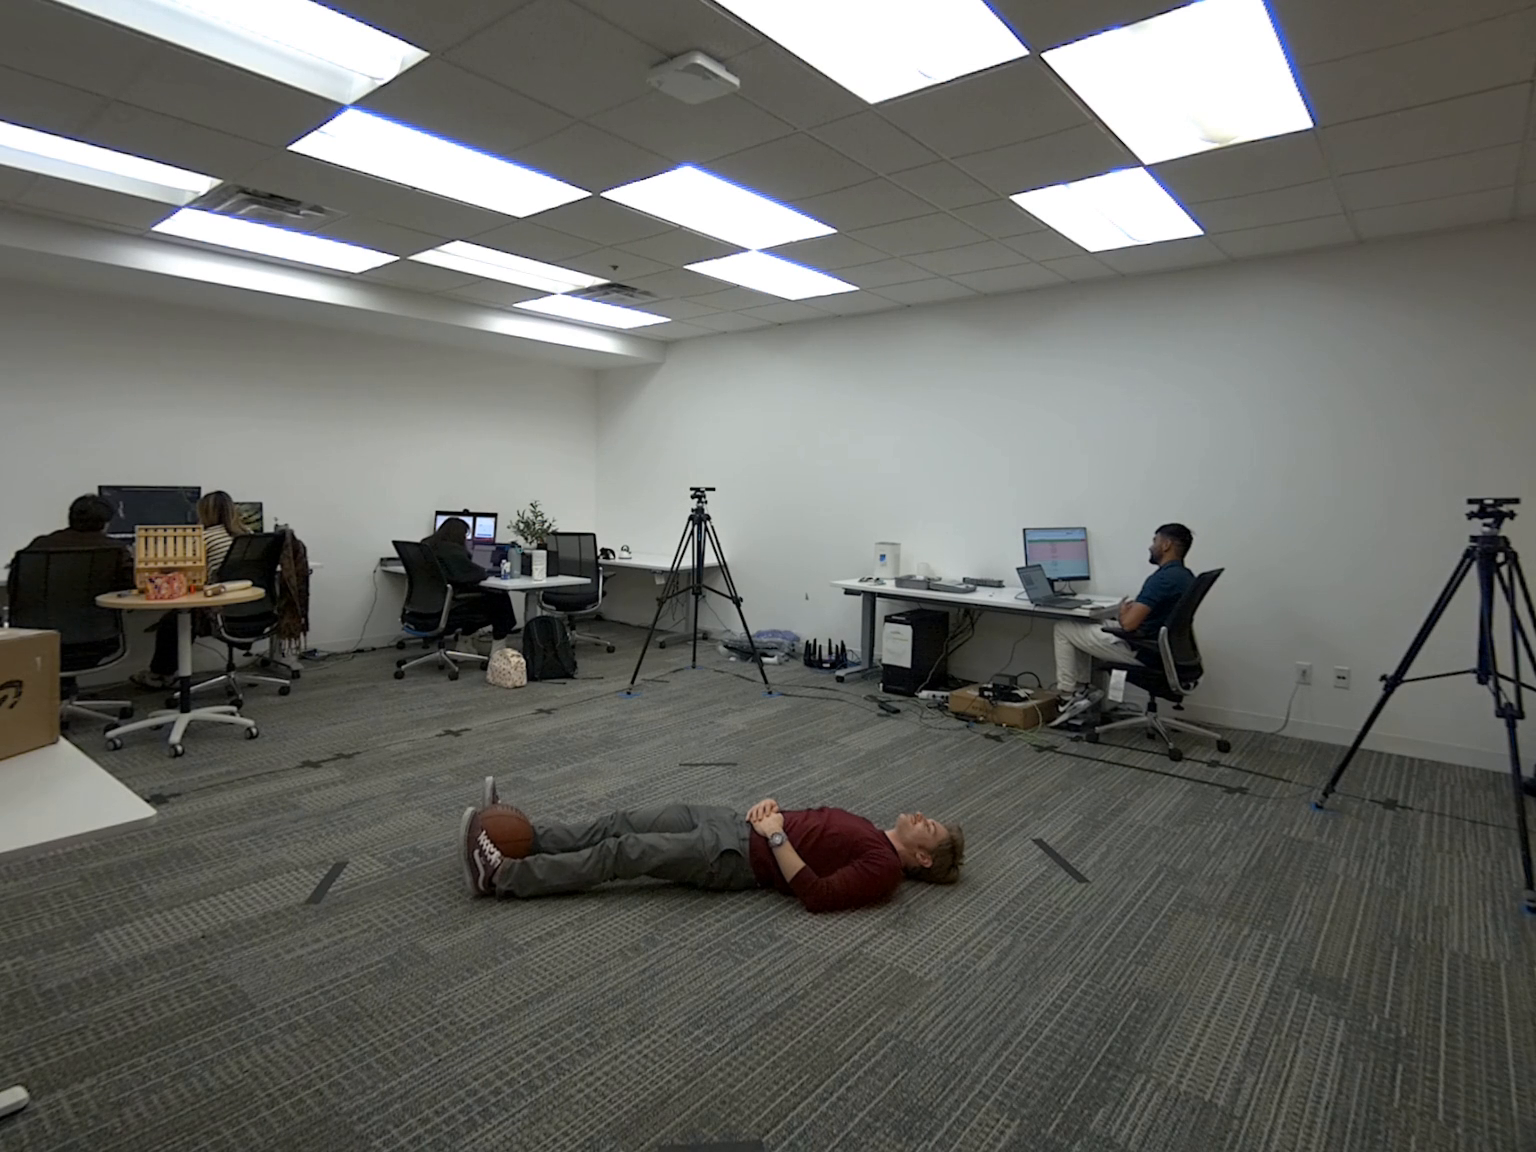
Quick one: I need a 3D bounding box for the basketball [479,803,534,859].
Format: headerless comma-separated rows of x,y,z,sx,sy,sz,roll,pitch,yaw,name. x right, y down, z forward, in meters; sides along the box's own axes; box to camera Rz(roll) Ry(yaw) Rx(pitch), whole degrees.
-0.963,0.918,3.012,0.236,0.235,0.237,-3,3,-2,basketball
